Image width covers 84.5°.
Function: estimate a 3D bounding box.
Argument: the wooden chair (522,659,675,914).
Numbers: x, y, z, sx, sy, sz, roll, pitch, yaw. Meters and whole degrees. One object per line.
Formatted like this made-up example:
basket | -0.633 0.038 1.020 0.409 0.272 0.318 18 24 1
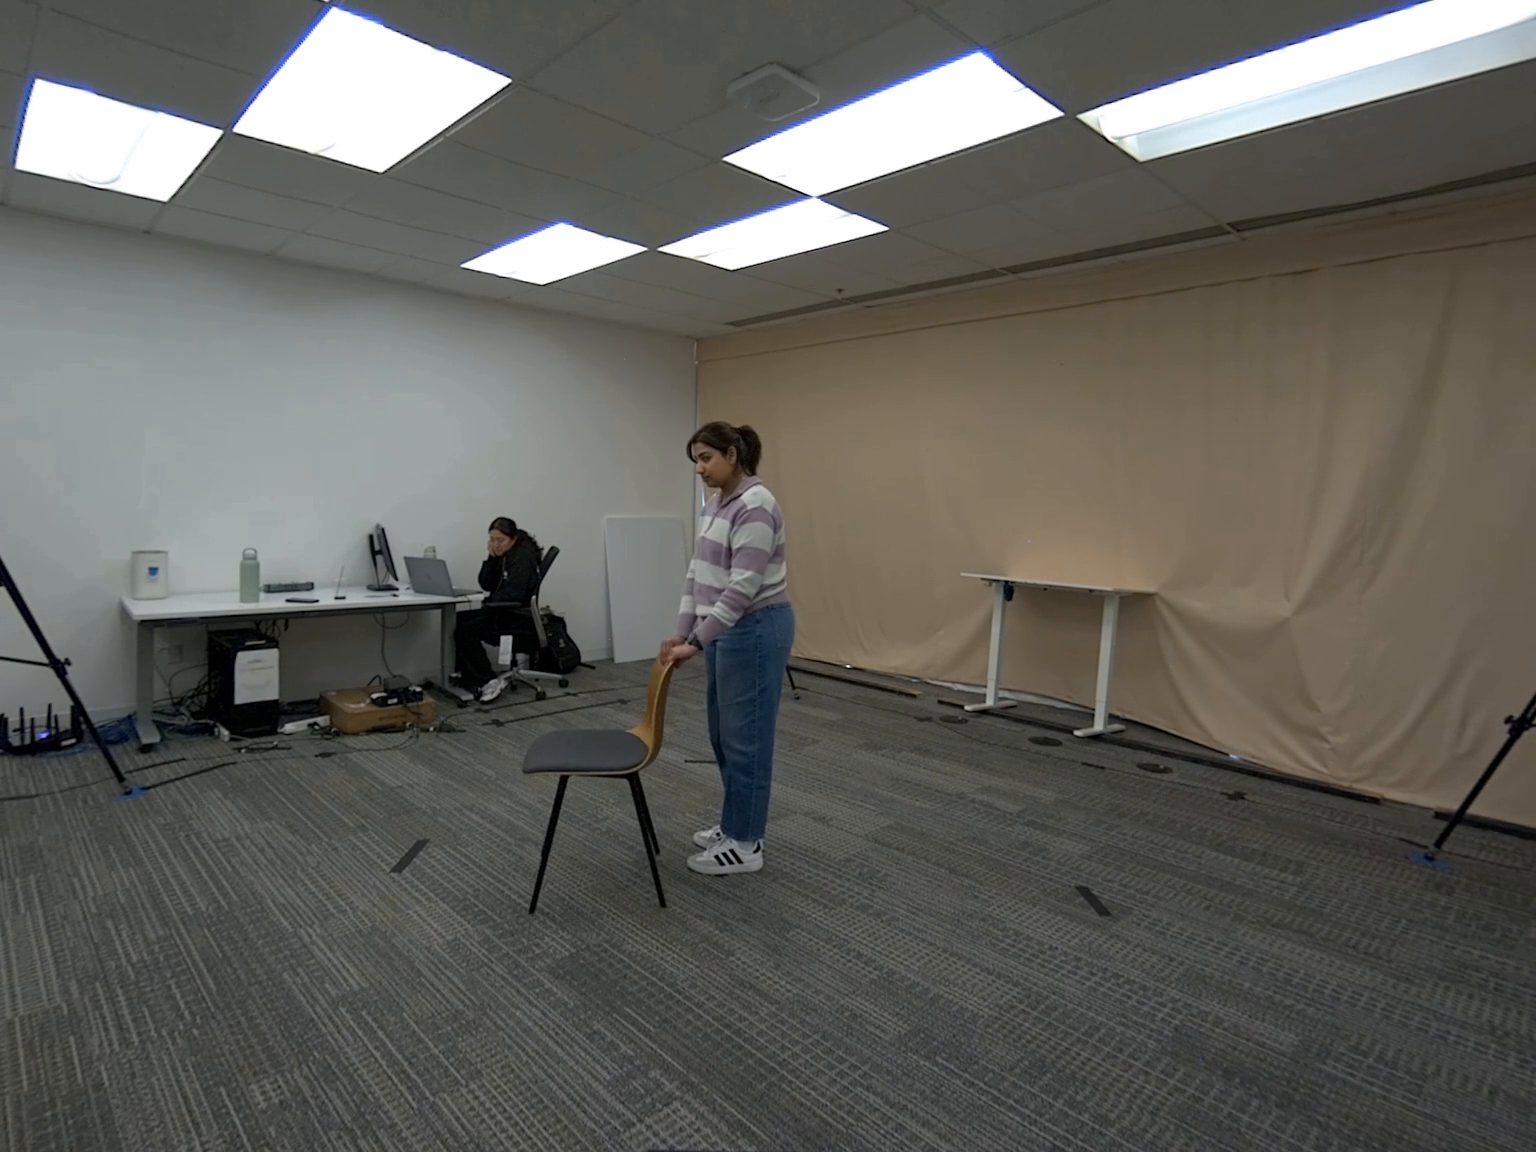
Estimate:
wooden chair | -0.603 0.673 2.994 0.519 0.875 0.483 5 3 -9
